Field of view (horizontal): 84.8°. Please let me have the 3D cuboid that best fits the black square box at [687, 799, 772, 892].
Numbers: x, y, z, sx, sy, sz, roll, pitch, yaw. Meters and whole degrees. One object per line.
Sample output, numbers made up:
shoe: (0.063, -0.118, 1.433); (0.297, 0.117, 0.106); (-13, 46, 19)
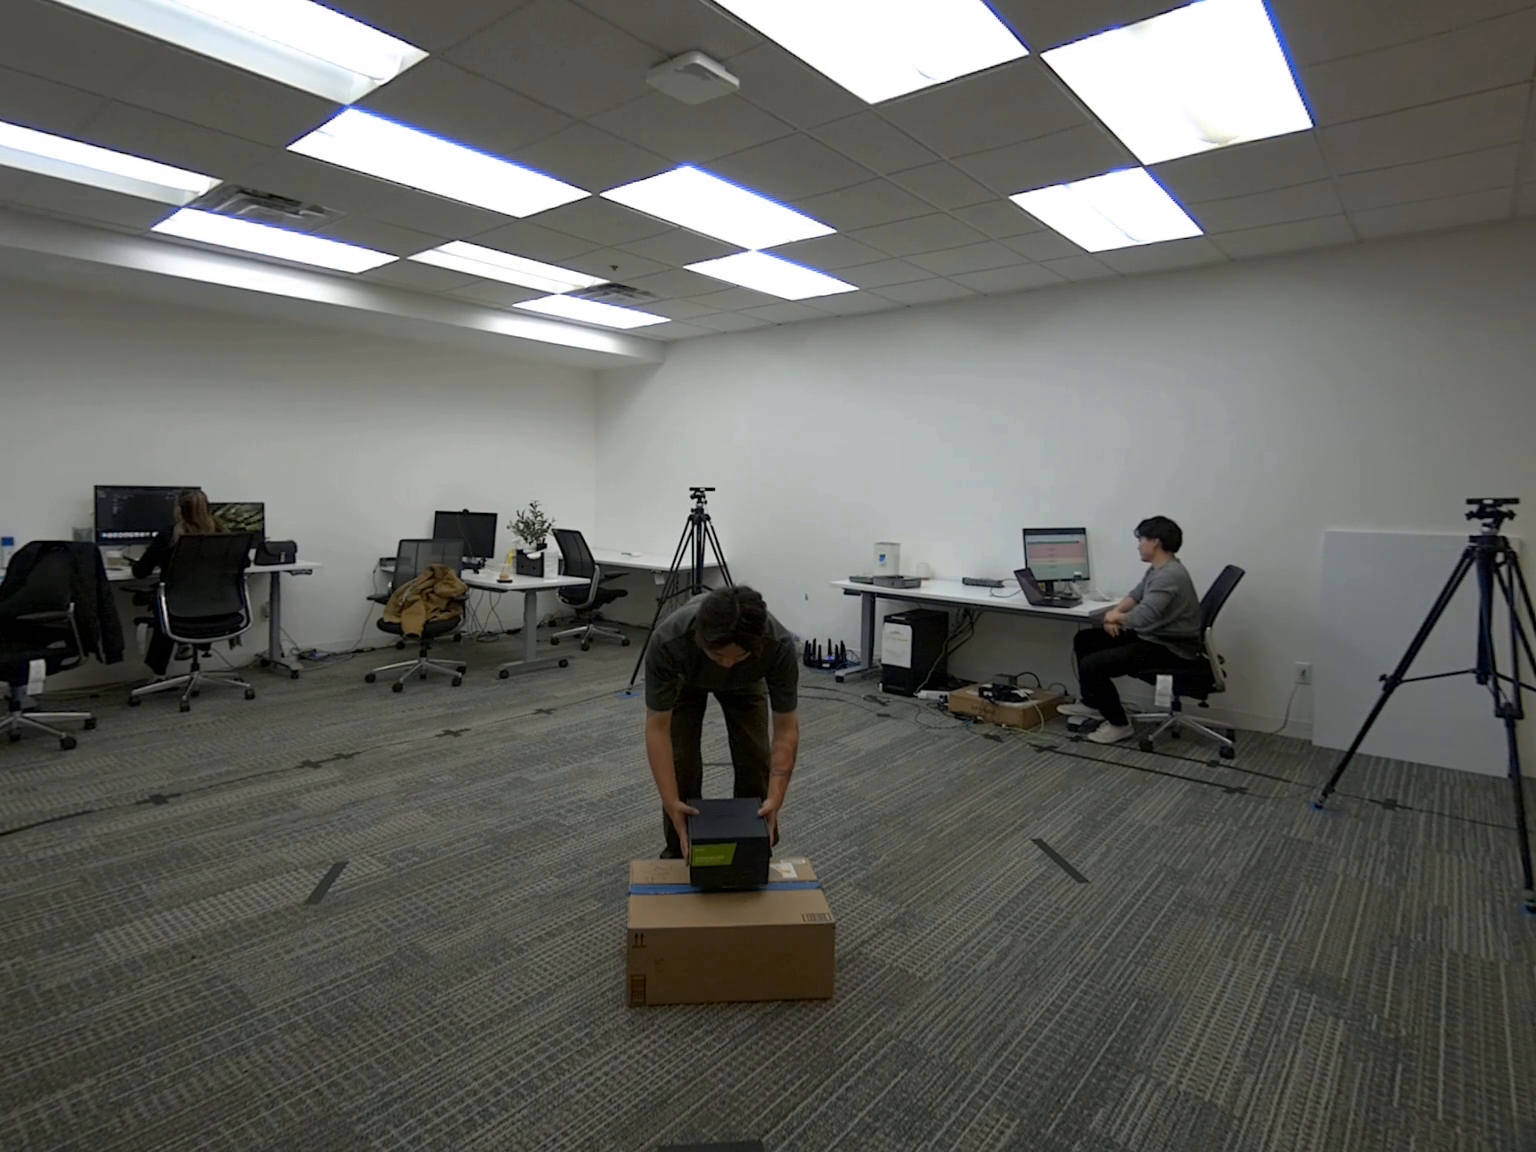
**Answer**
black square box: (-0.138, 0.787, 2.515); (0.226, 0.154, 0.221); (1, 14, -8)
